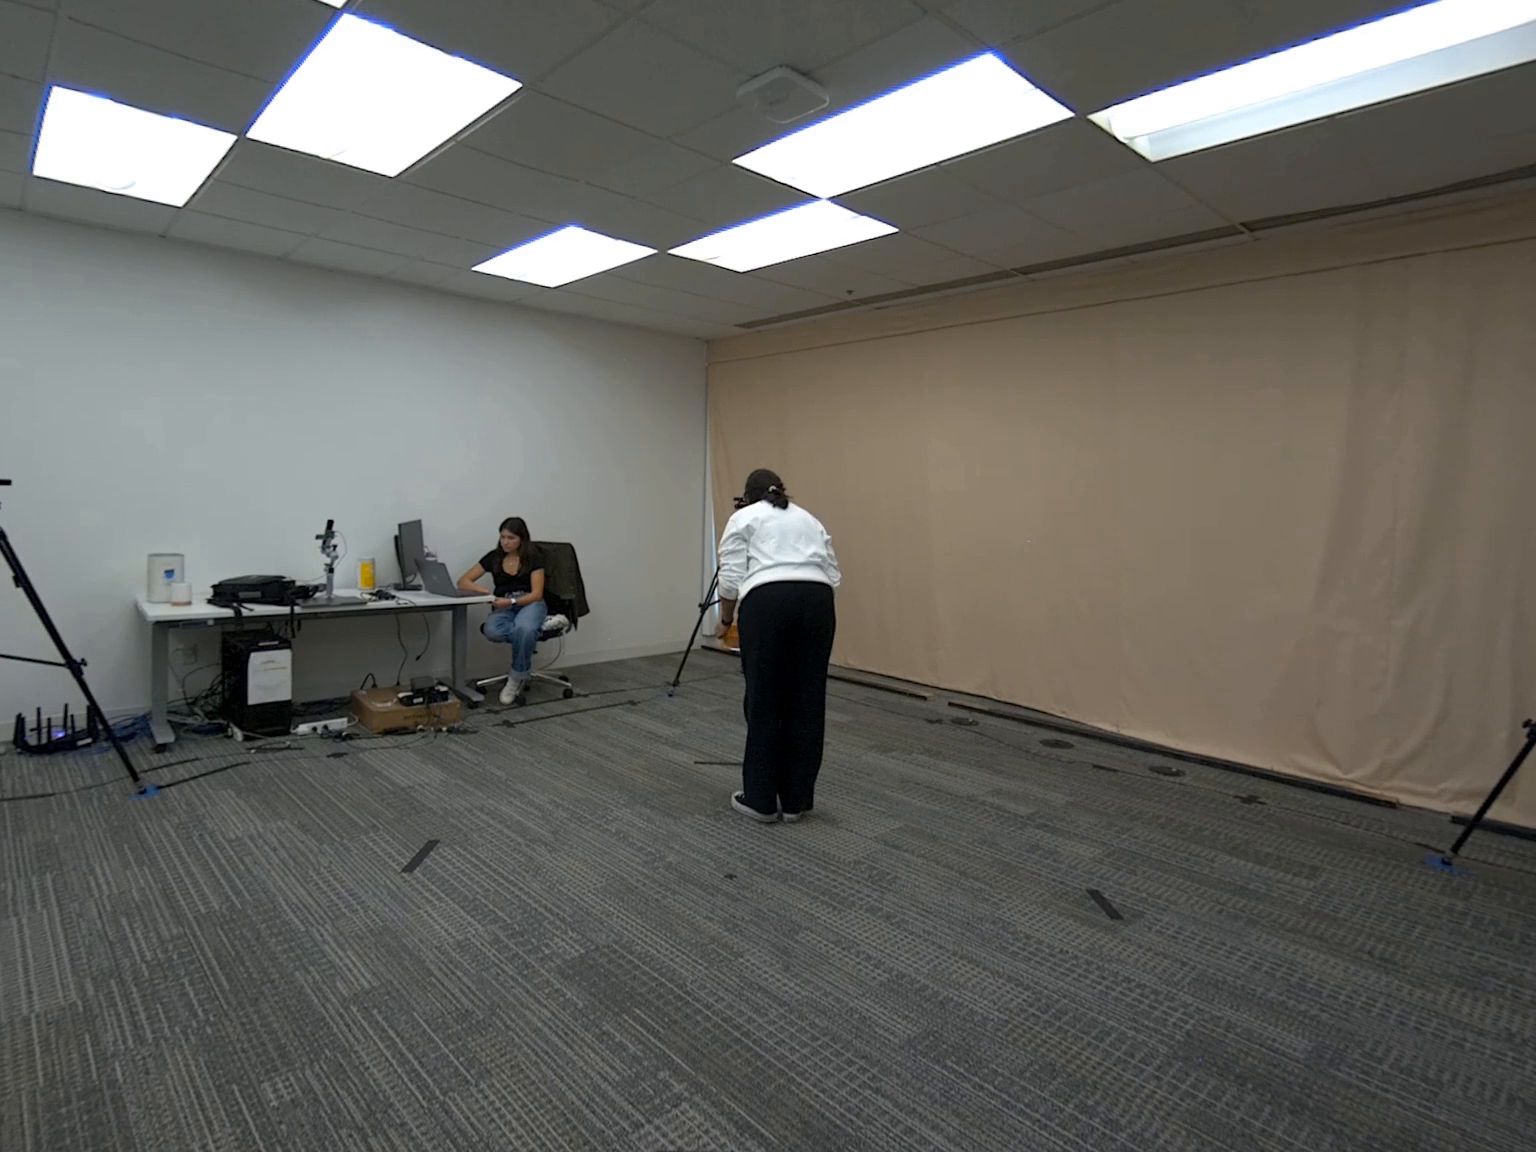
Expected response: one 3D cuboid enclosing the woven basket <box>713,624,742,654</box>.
[{"bbox_3d":[-0.068,0.301,4.017,0.347,0.073,0.256,3,8,-11],"label":"woven basket"}]
